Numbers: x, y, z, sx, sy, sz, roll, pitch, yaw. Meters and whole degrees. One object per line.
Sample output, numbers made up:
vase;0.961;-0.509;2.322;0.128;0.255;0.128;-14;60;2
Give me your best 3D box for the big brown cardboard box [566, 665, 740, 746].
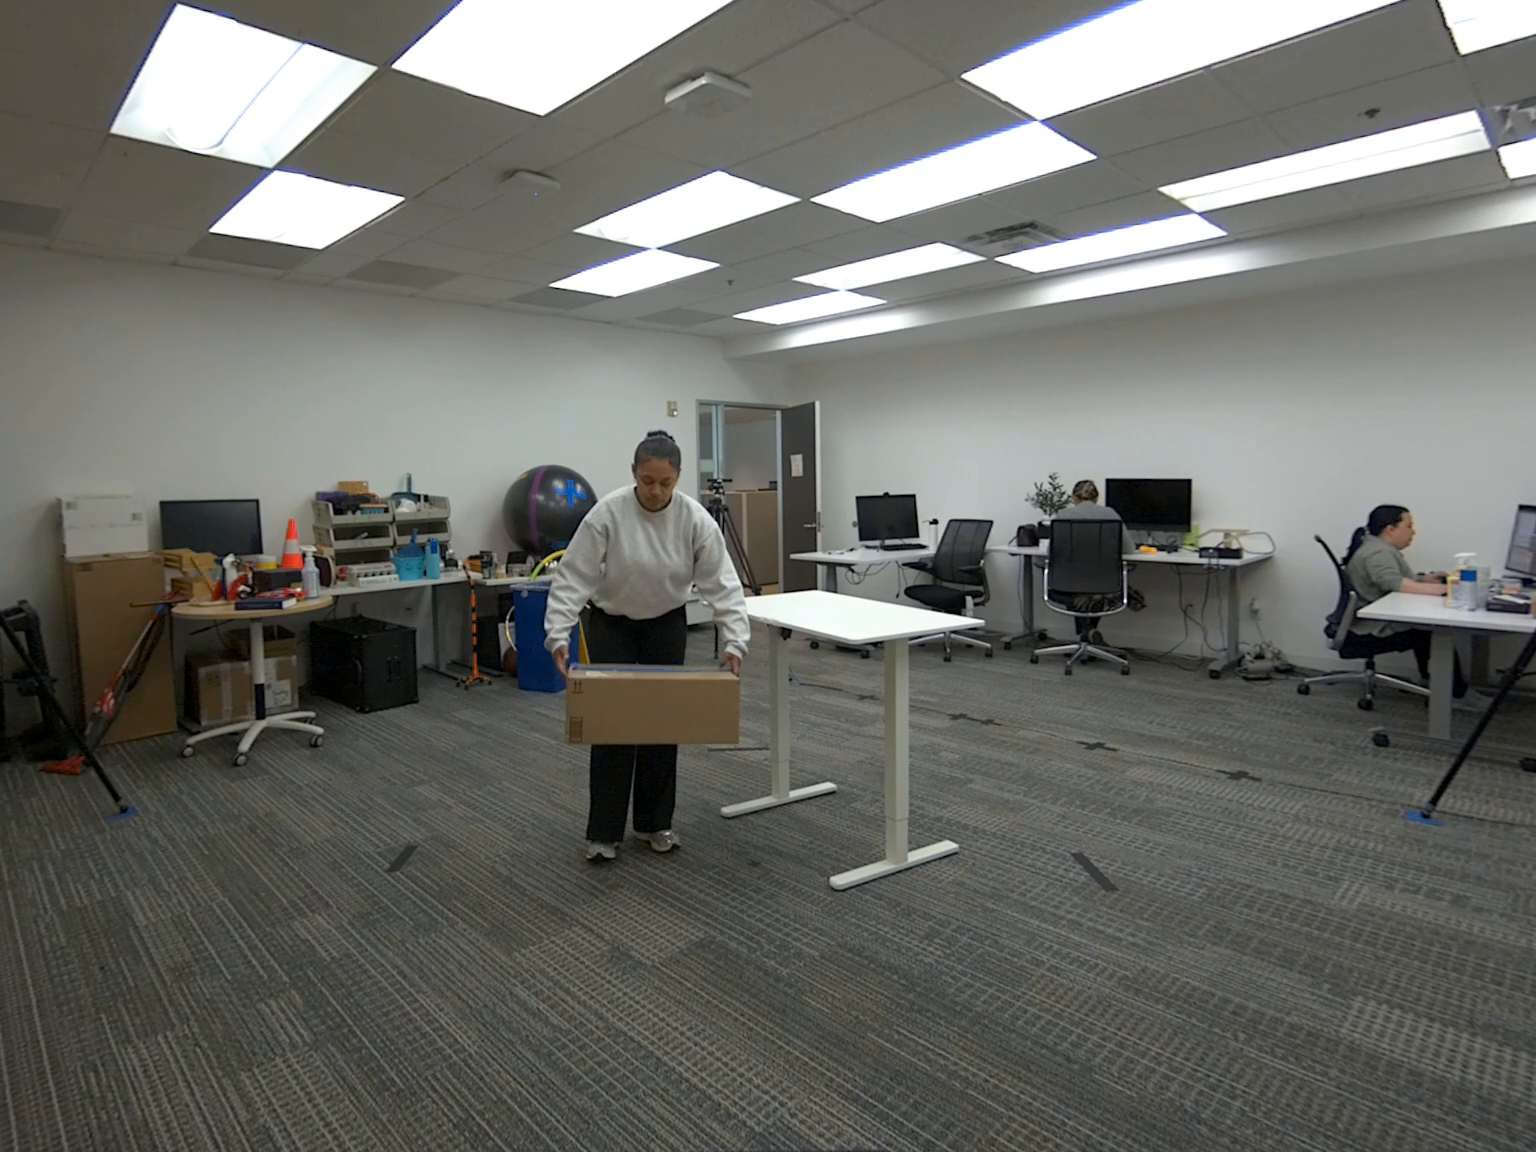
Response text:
big brown cardboard box;-0.417;0.433;2.971;0.583;0.233;0.421;2;-1;-10
